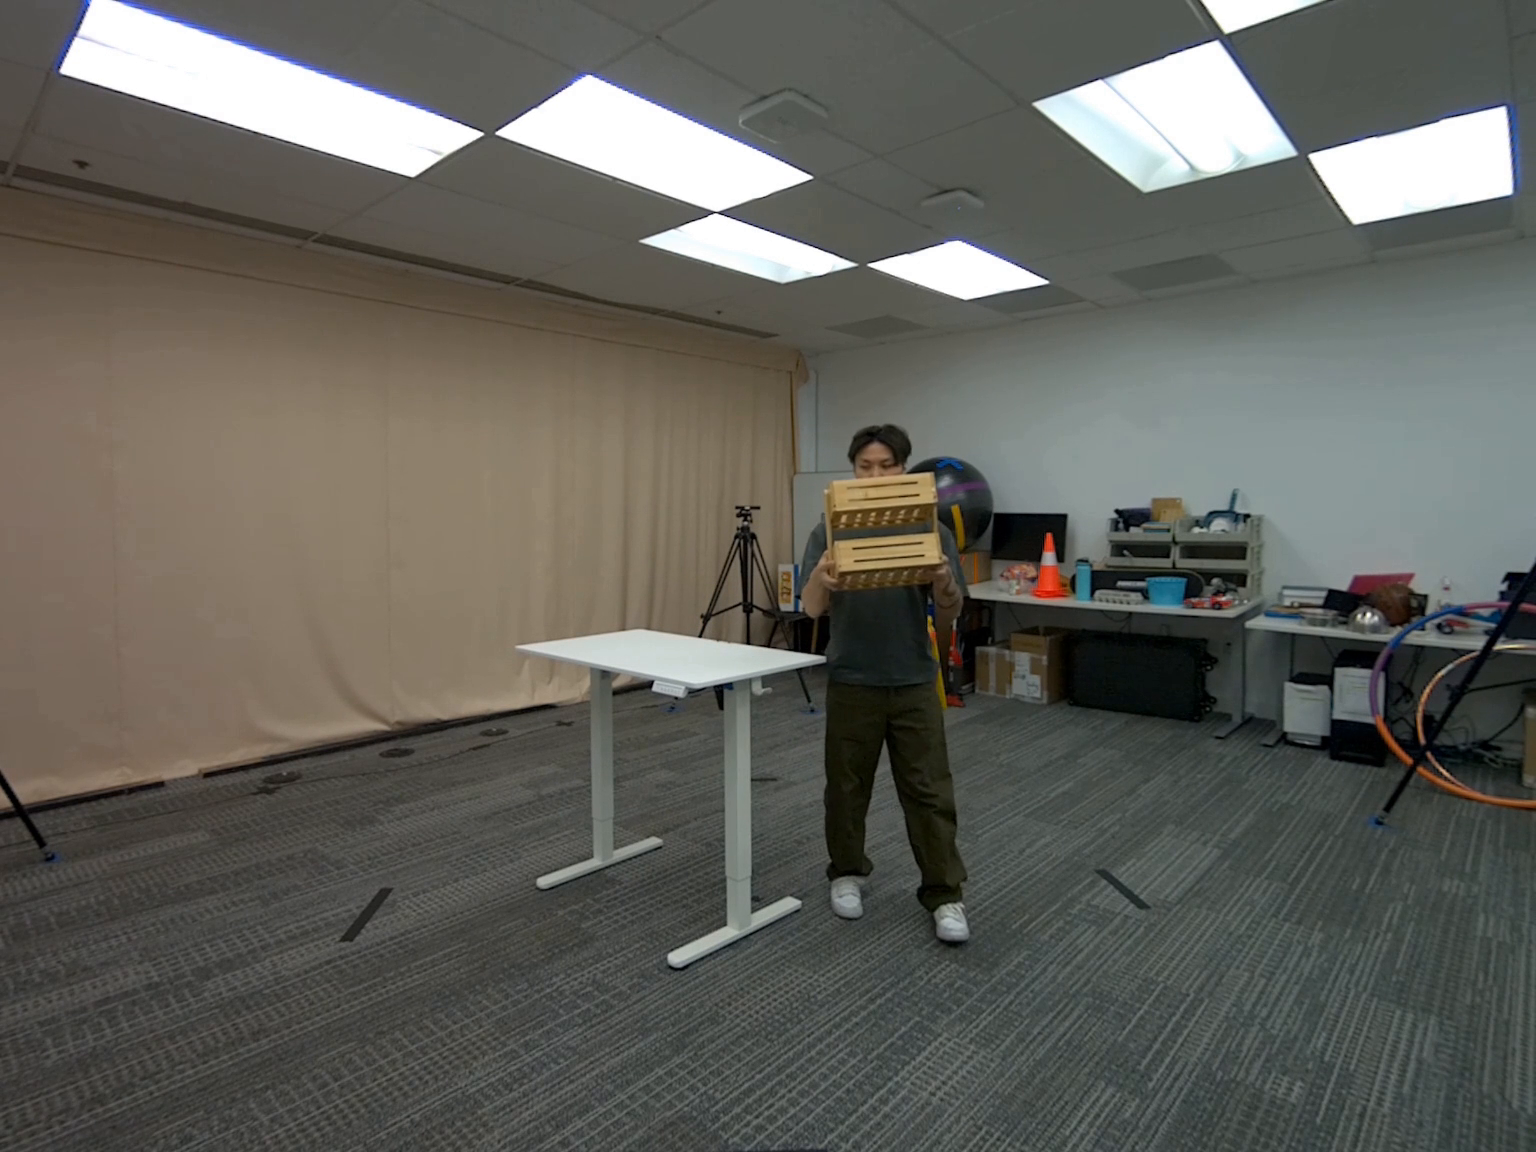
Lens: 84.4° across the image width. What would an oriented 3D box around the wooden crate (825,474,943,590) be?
[{"bbox_3d":[0.344,-0.129,2.544,0.325,0.276,0.298,-5,-15,1],"label":"wooden crate"}]
